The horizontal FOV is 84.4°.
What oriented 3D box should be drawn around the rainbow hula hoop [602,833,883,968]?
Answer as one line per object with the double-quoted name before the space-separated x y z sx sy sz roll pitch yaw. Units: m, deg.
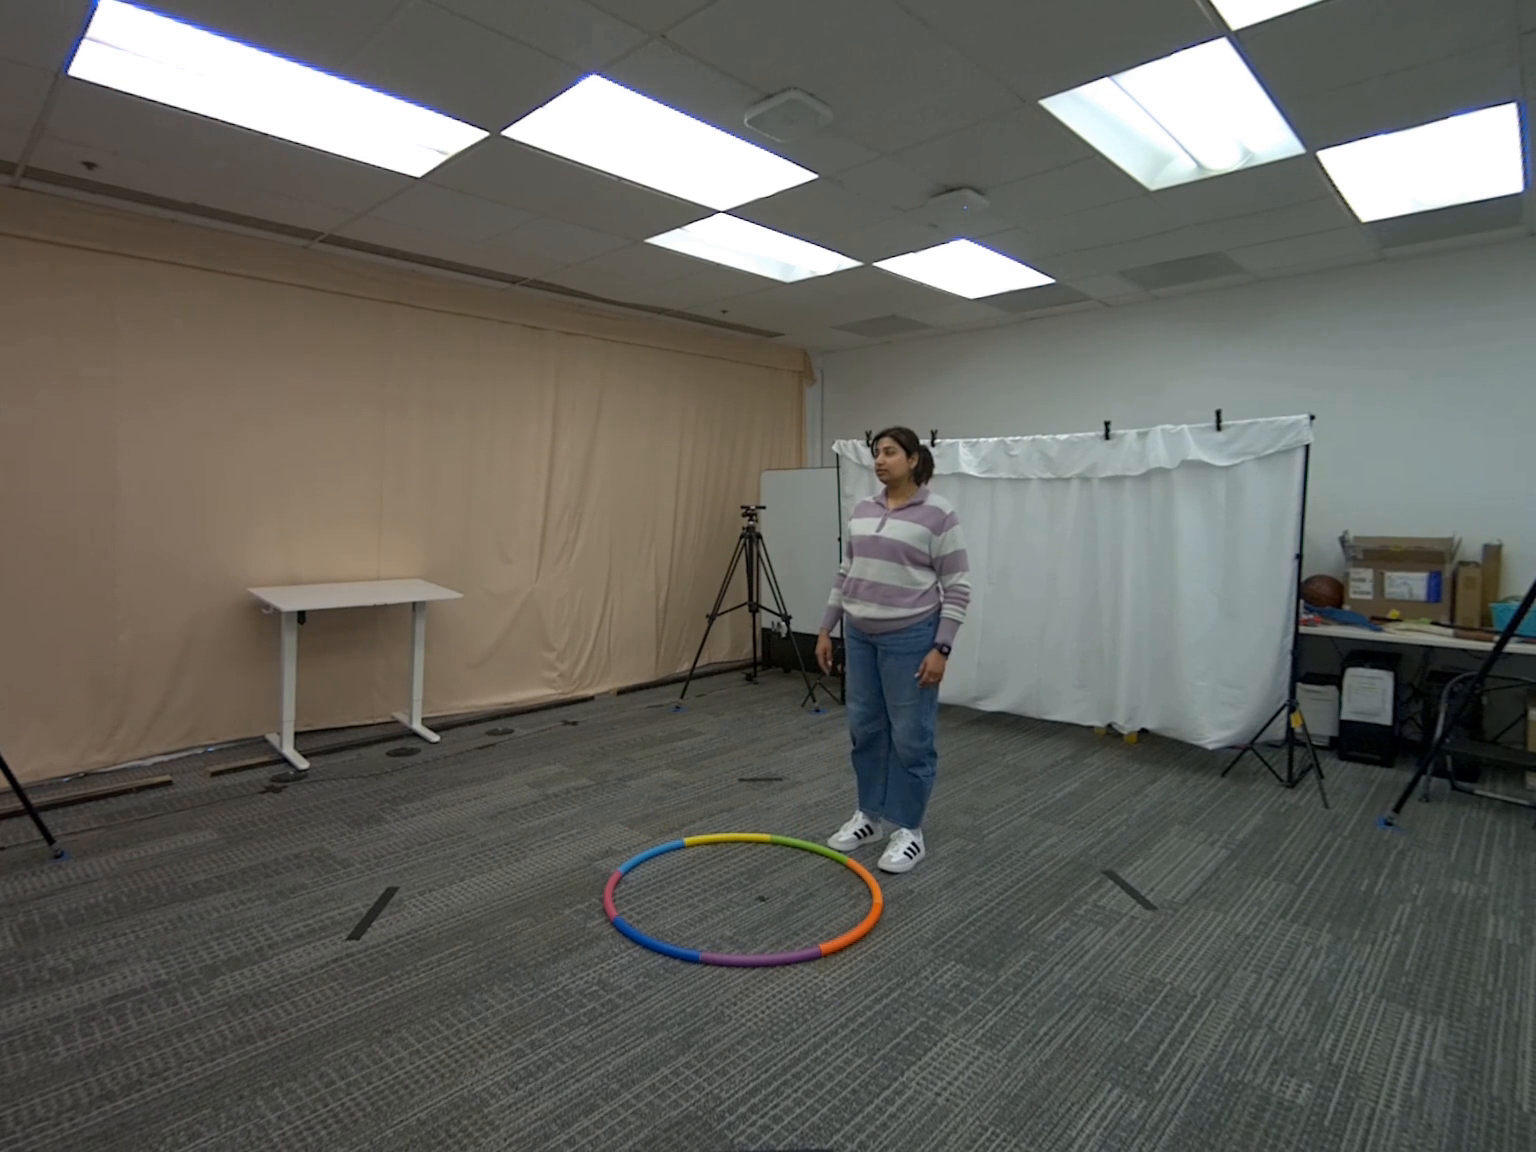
"rainbow hula hoop" -0.093 1.113 3.024 0.984 0.051 0.989 0 5 -2
